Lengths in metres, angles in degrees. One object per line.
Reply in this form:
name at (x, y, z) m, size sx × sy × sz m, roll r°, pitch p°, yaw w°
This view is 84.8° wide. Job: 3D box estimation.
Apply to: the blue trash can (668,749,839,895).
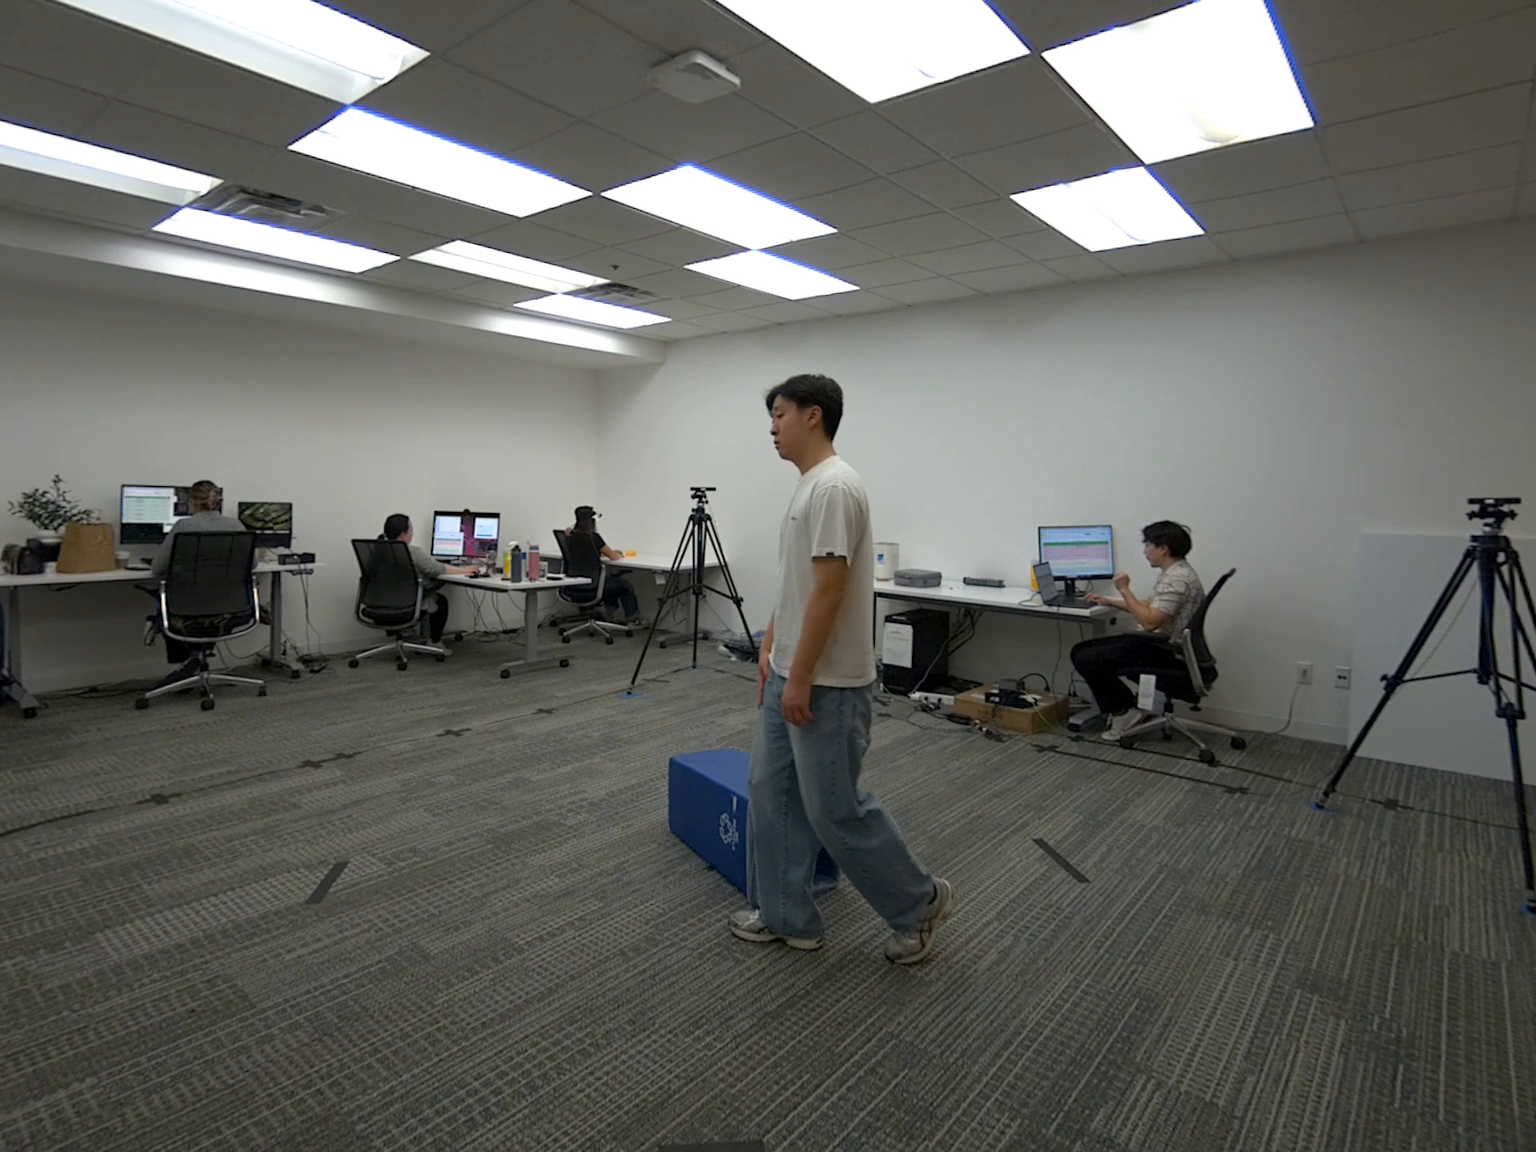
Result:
blue trash can at (-0.104, 0.894, 3.199) m, size 0.364 × 0.377 × 0.734 m, roll -1°, pitch 3°, yaw -31°
